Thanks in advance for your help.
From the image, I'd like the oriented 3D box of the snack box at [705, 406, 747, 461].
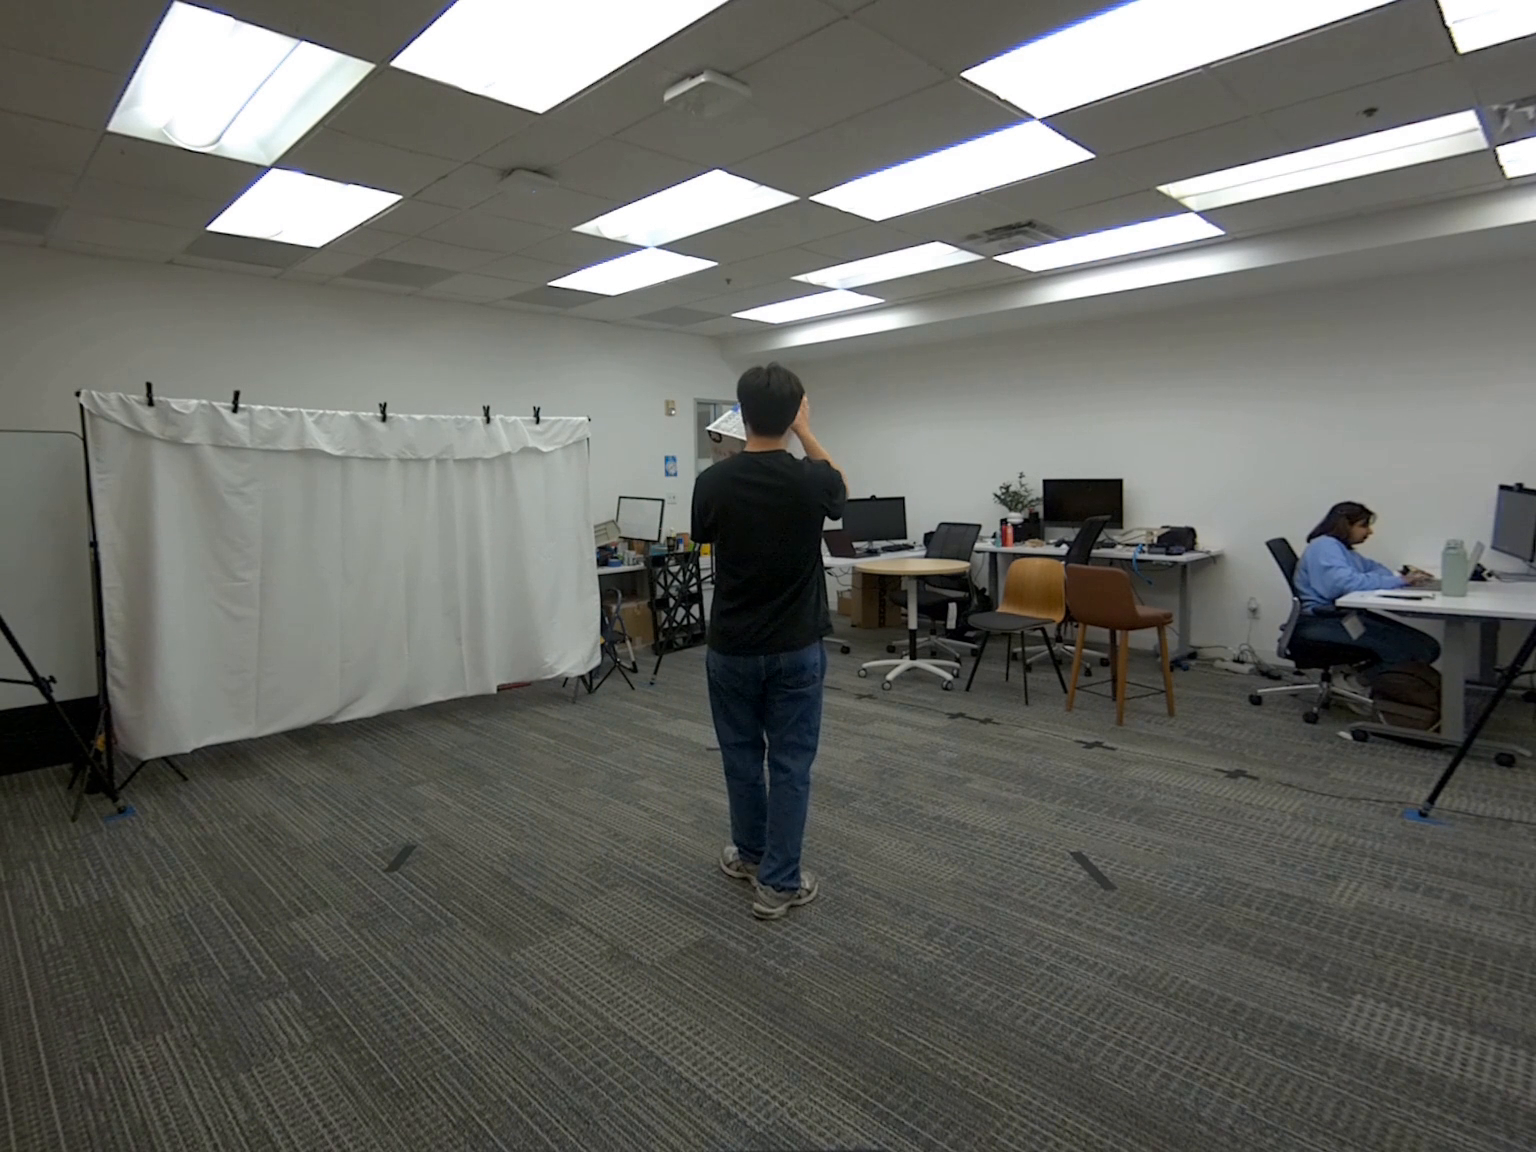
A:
[{"bbox_3d":[-0.014,-0.441,3.186,0.213,0.392,0.340,20,50,34],"label":"snack box"}]
